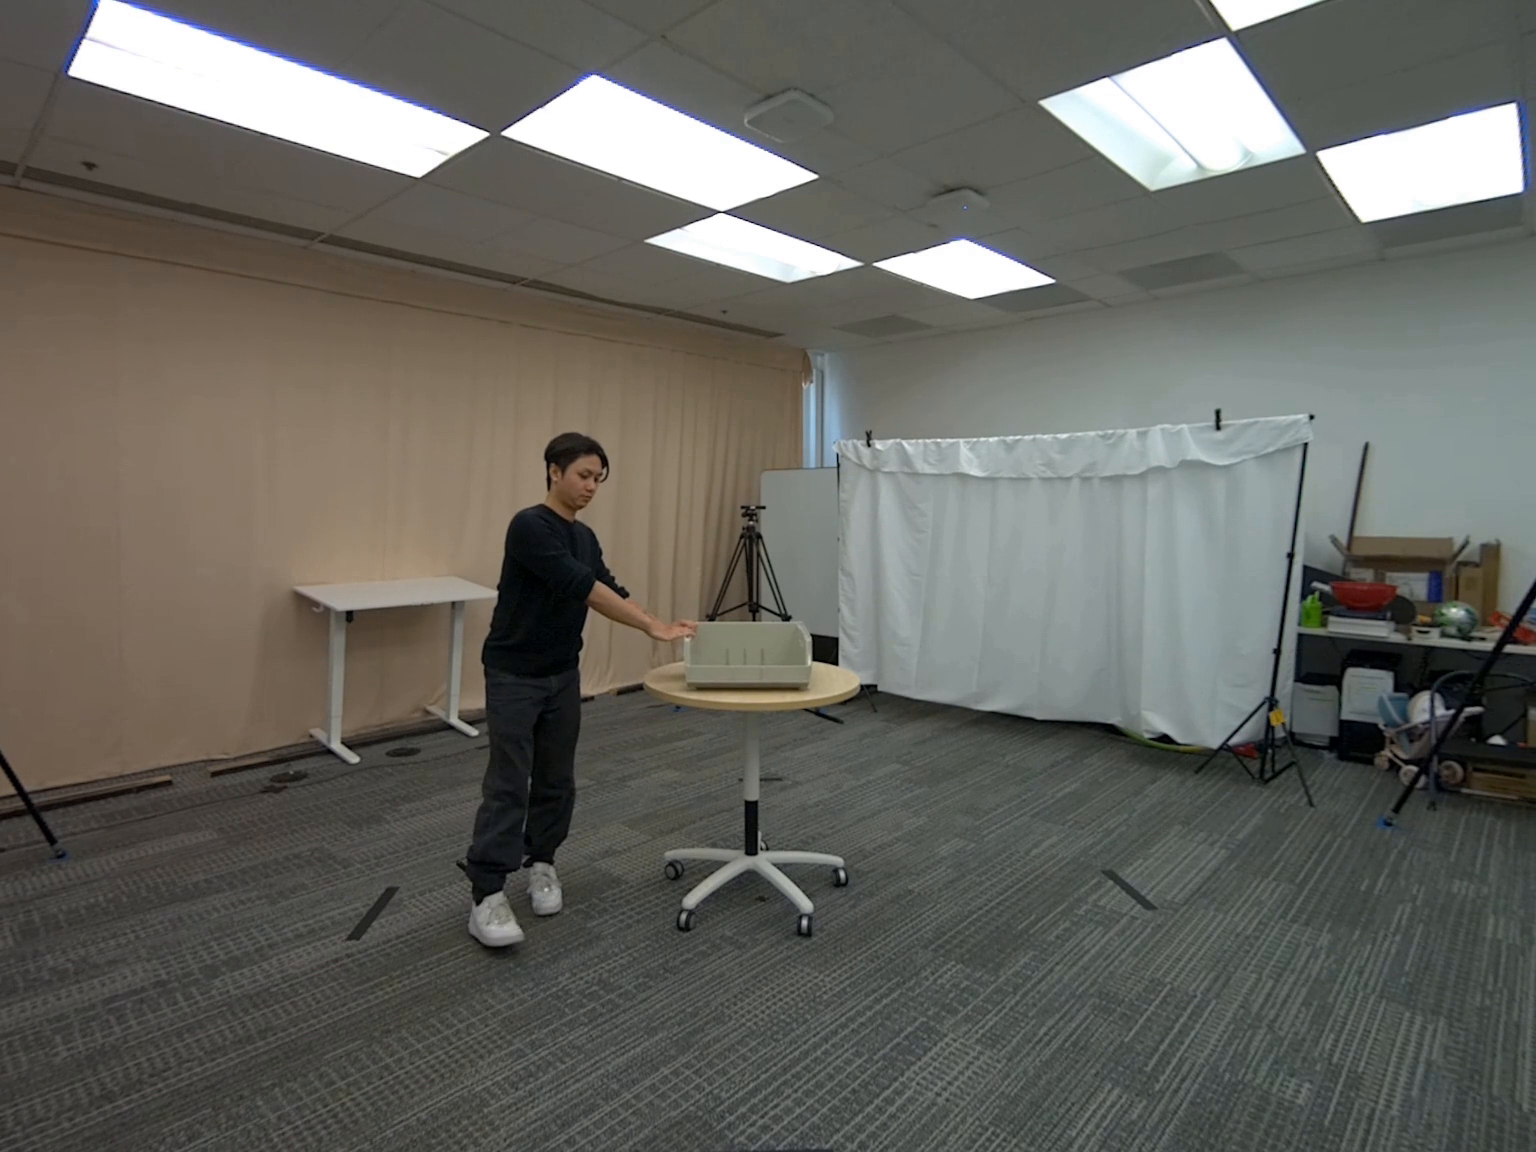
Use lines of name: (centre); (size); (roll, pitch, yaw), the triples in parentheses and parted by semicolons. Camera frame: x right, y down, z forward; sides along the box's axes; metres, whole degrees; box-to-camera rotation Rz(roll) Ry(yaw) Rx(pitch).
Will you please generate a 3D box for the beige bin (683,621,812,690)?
beige bin: (-0.073, 0.289, 2.906); (0.423, 0.188, 0.378); (0, 7, 1)
